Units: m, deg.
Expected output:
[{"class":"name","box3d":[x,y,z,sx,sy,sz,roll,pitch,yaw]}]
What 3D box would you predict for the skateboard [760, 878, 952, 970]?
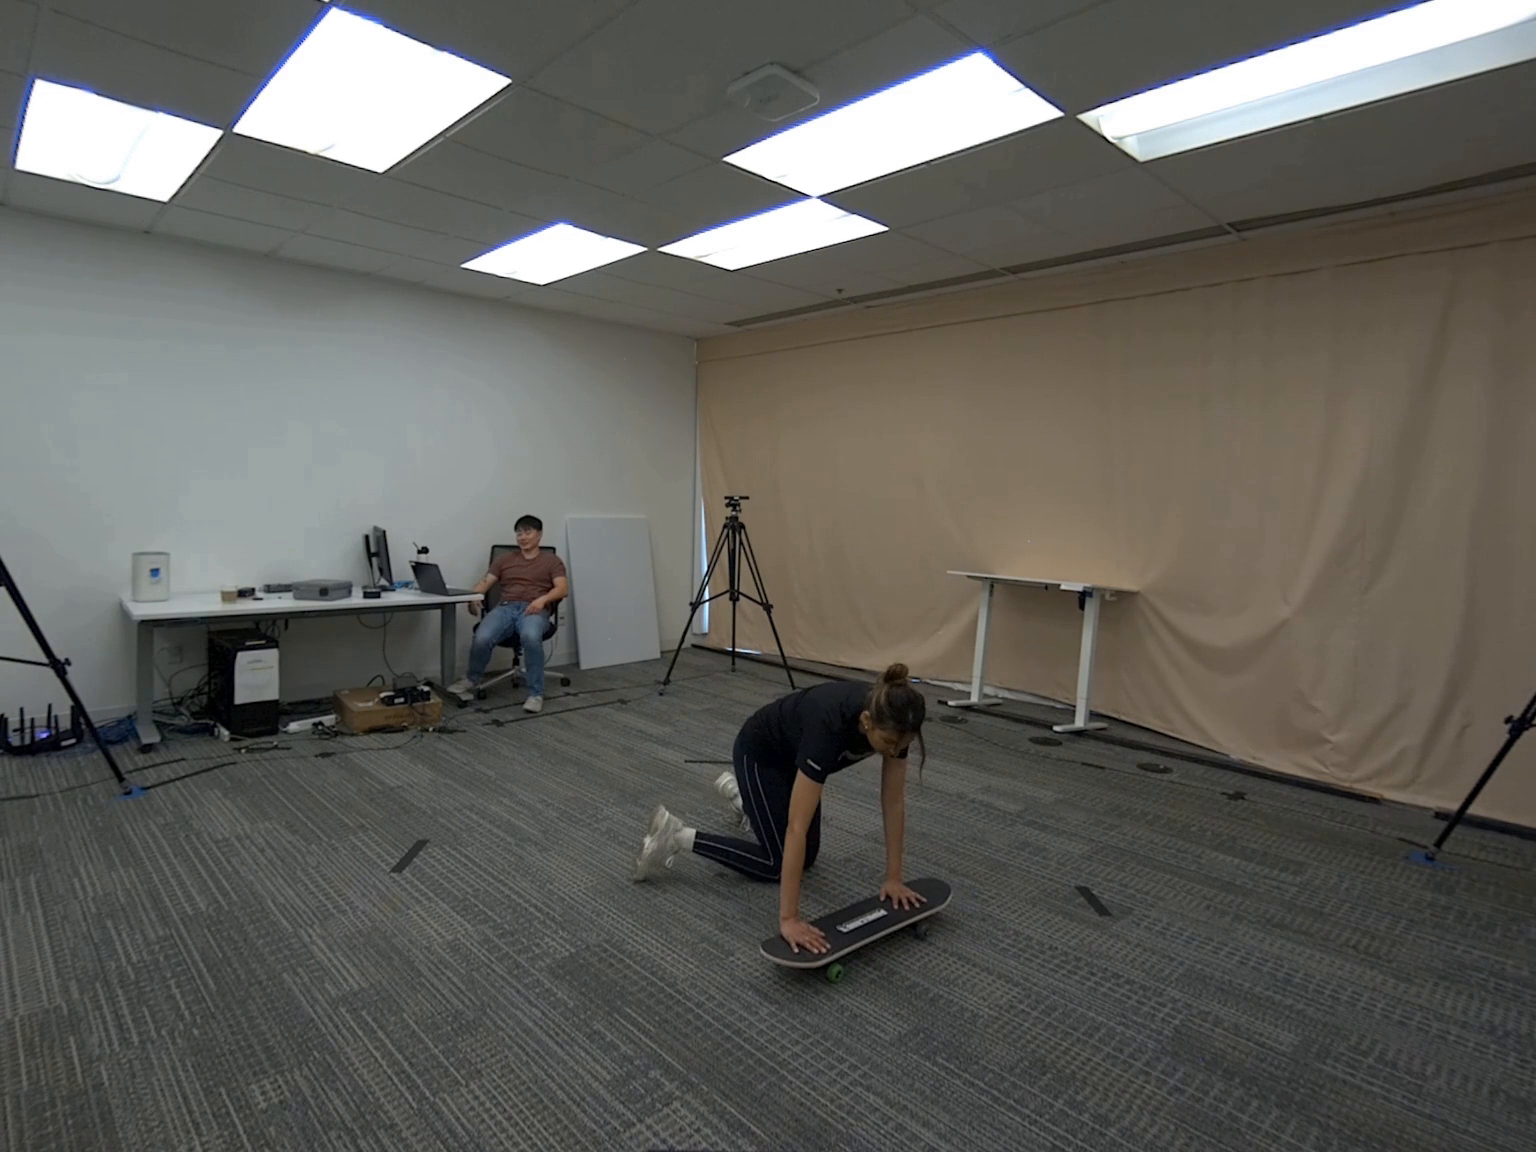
[{"class":"skateboard","box3d":[0.280,1.101,2.618,0.768,0.110,0.198,-3,4,-40]}]
